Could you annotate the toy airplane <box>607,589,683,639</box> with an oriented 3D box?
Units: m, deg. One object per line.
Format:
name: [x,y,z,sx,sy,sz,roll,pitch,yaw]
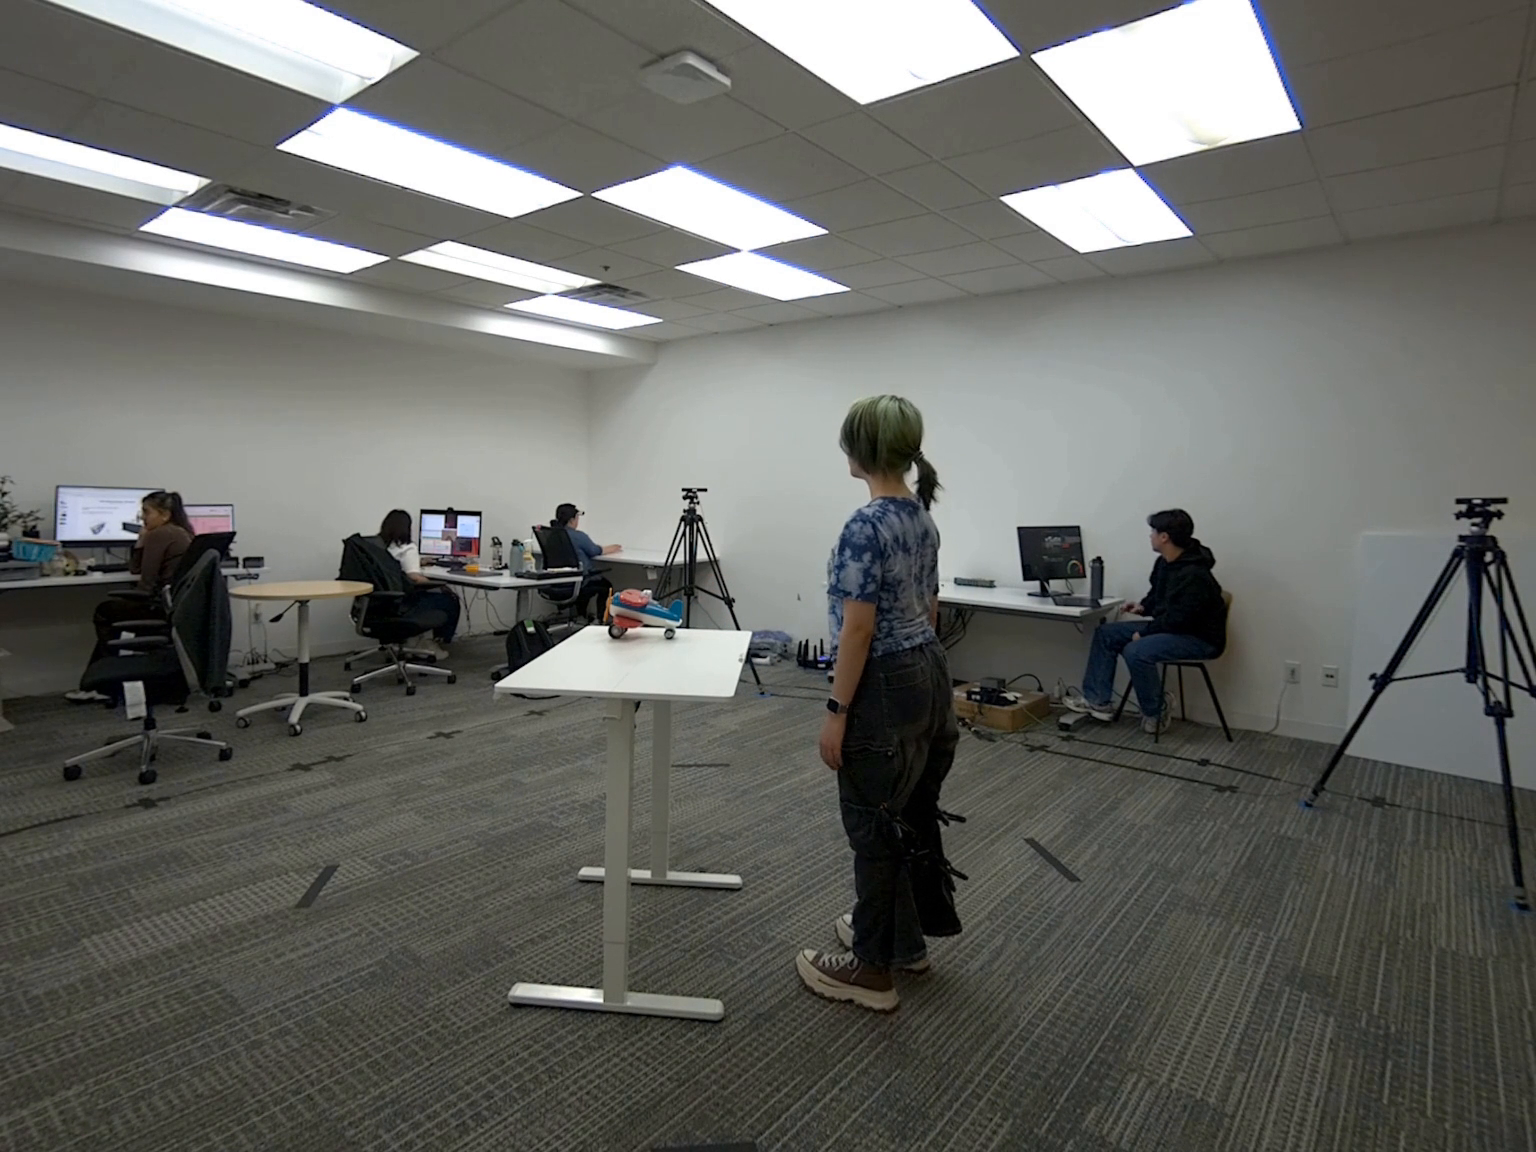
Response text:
toy airplane: [-0.436,0.129,2.905,0.253,0.156,0.258,-3,6,-28]
